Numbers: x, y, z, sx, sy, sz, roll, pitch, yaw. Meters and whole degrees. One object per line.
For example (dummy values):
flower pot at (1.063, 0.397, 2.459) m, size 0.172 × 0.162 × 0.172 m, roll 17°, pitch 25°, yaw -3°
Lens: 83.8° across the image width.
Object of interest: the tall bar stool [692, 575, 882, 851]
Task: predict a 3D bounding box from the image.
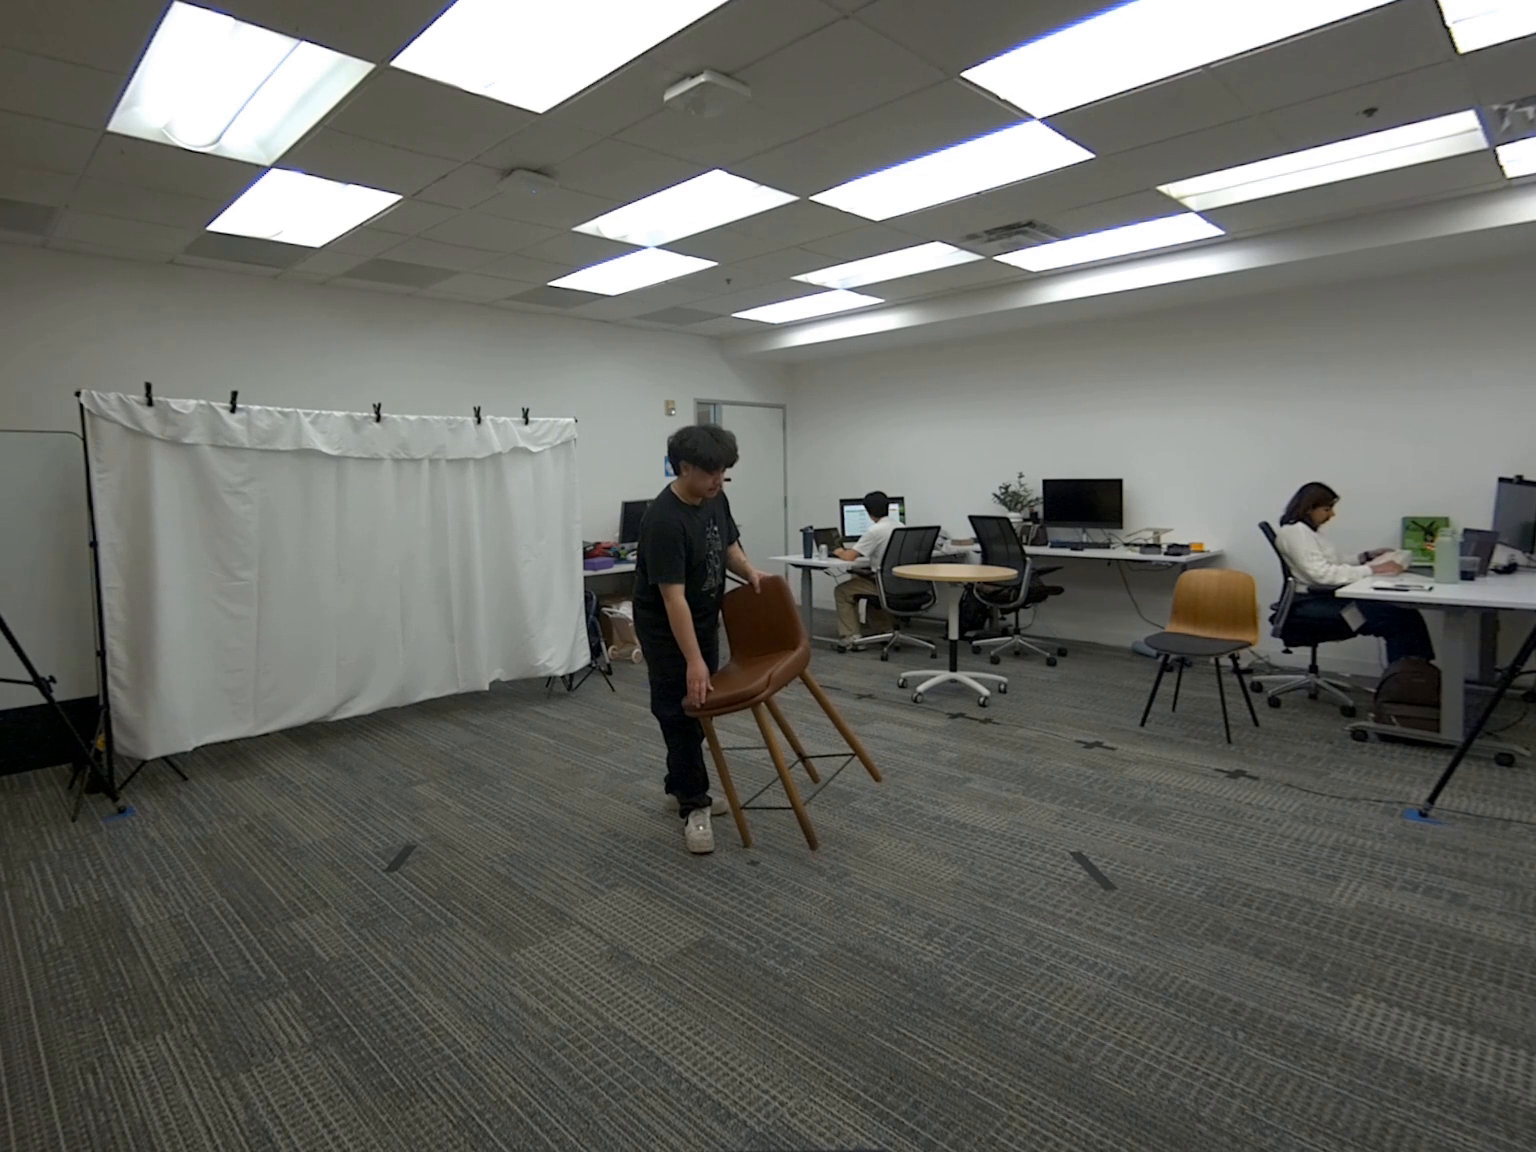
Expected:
tall bar stool at (-0.001, 0.507, 3.210) m, size 0.461 × 0.887 × 0.464 m, roll -27°, pitch 4°, yaw -40°
